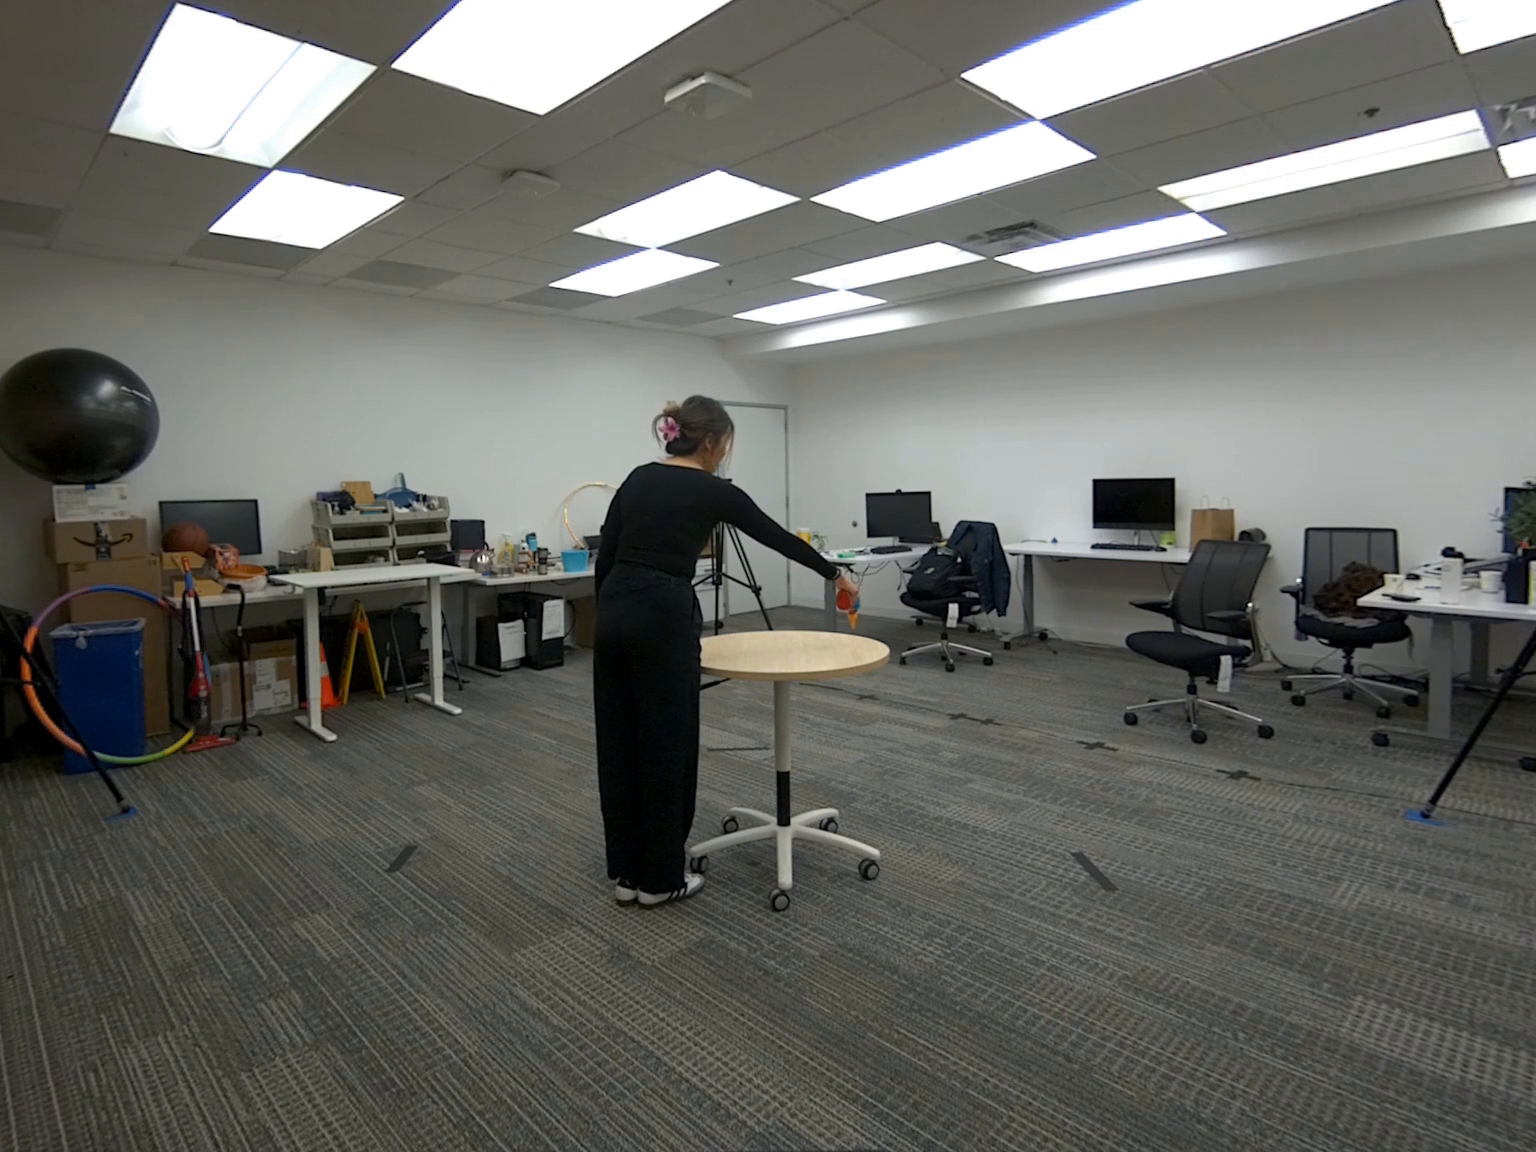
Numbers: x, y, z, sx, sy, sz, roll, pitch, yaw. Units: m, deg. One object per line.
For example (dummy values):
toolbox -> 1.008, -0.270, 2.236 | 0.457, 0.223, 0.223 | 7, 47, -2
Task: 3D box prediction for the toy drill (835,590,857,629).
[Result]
toy drill -> 0.293, 0.116, 3.129 | 0.062, 0.169, 0.144 | 1, 7, 19
